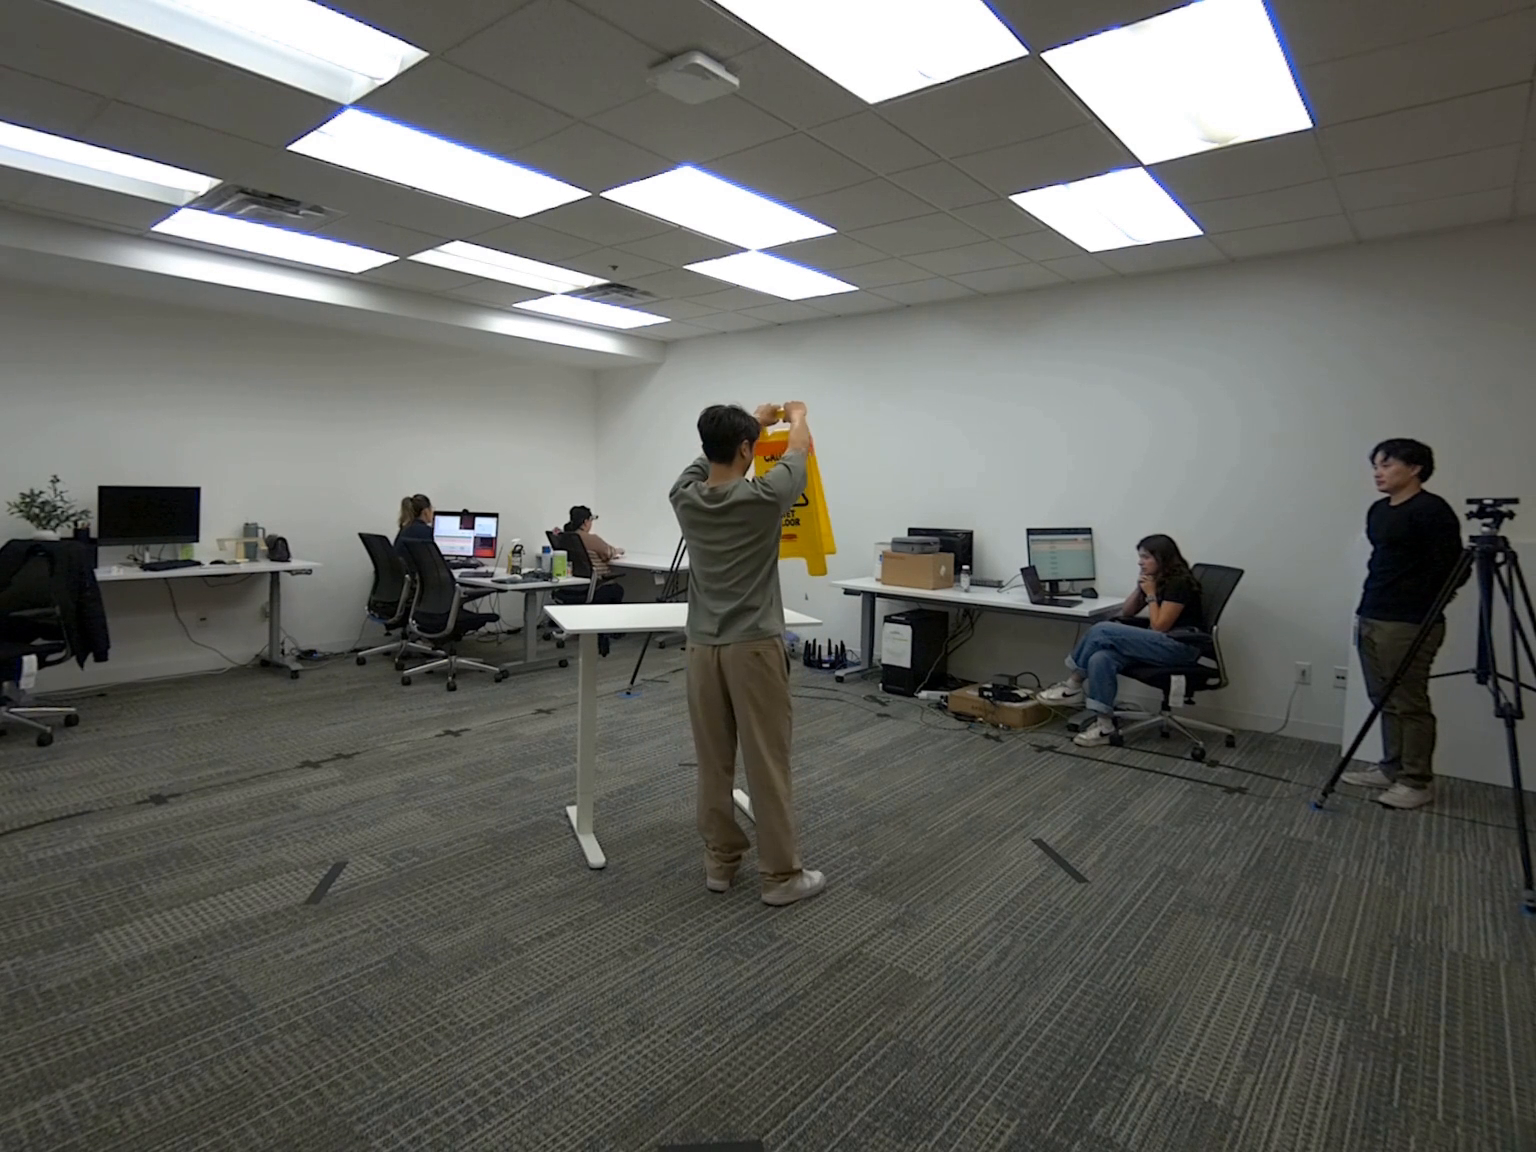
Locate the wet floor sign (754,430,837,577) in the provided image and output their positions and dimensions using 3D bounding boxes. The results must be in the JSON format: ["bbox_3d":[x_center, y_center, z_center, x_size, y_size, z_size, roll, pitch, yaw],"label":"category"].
[{"bbox_3d":[0.073,-0.349,3.402,0.287,0.634,0.290,-1,18,15],"label":"wet floor sign"}]
